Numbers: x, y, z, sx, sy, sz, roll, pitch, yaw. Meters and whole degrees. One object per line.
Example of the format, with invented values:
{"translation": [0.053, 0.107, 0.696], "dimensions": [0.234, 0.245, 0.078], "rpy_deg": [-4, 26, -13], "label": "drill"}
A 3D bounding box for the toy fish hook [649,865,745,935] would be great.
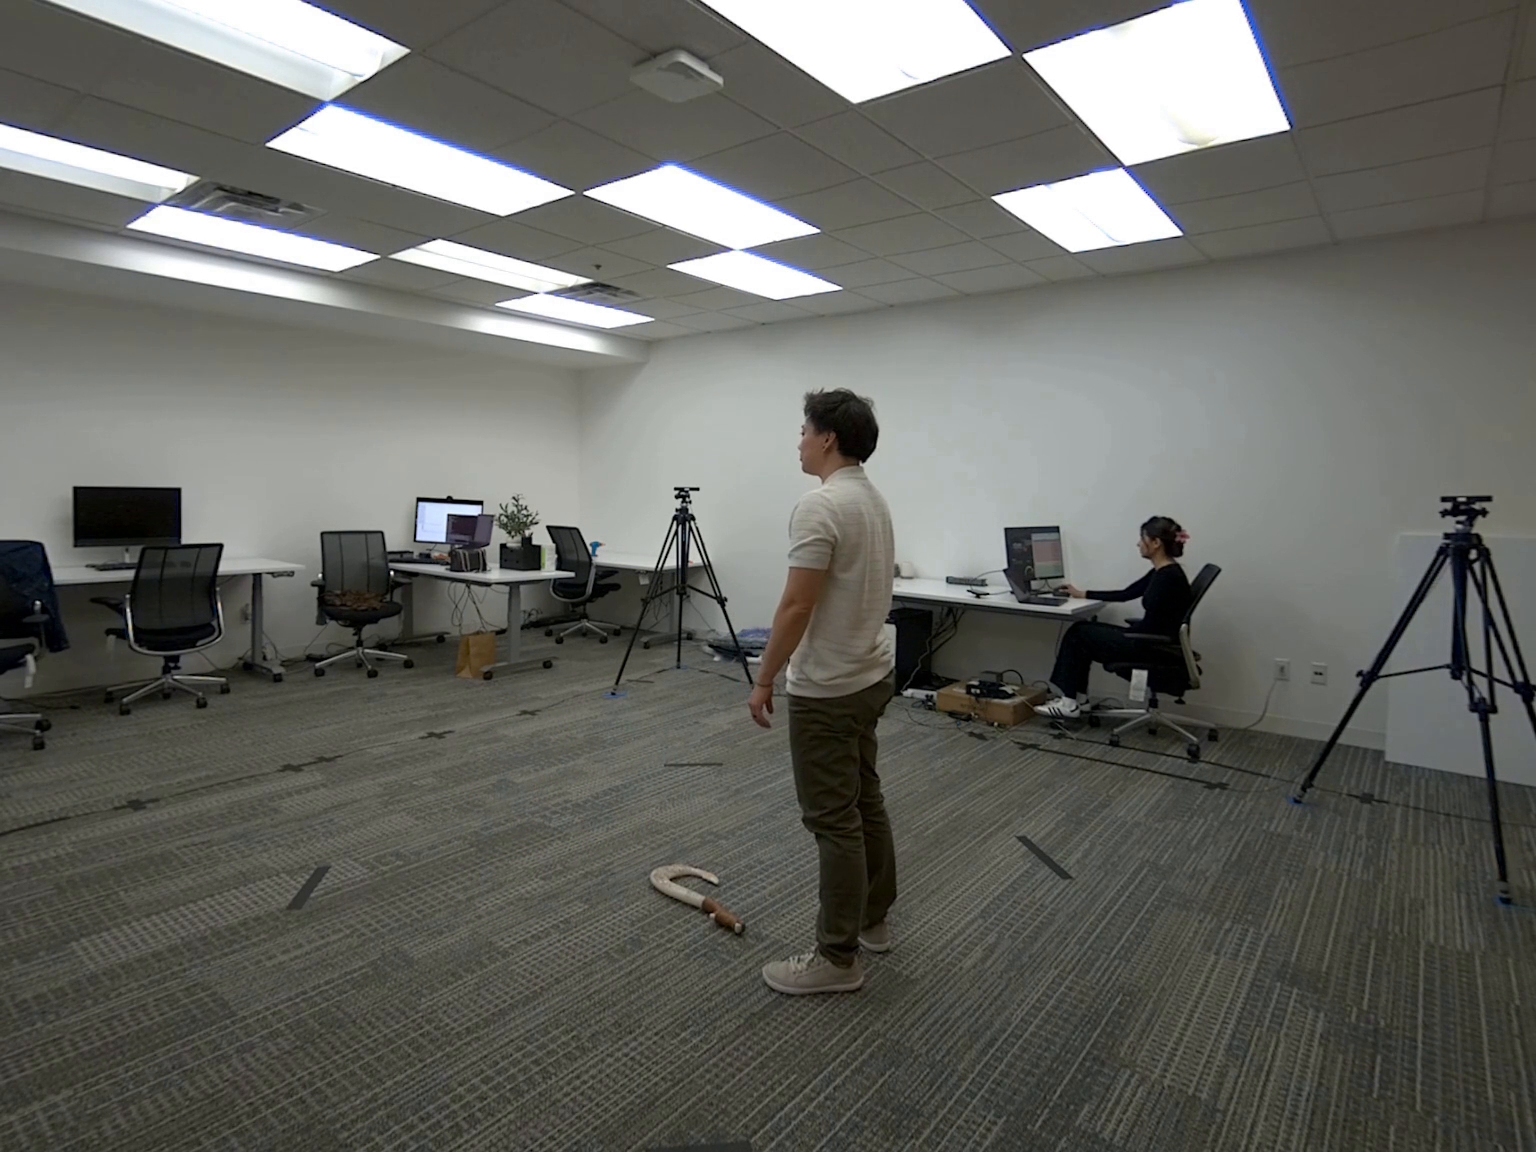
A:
{"translation": [-0.212, 1.067, 2.861], "dimensions": [0.218, 0.048, 0.524], "rpy_deg": [-4, 8, -39], "label": "toy fish hook"}
